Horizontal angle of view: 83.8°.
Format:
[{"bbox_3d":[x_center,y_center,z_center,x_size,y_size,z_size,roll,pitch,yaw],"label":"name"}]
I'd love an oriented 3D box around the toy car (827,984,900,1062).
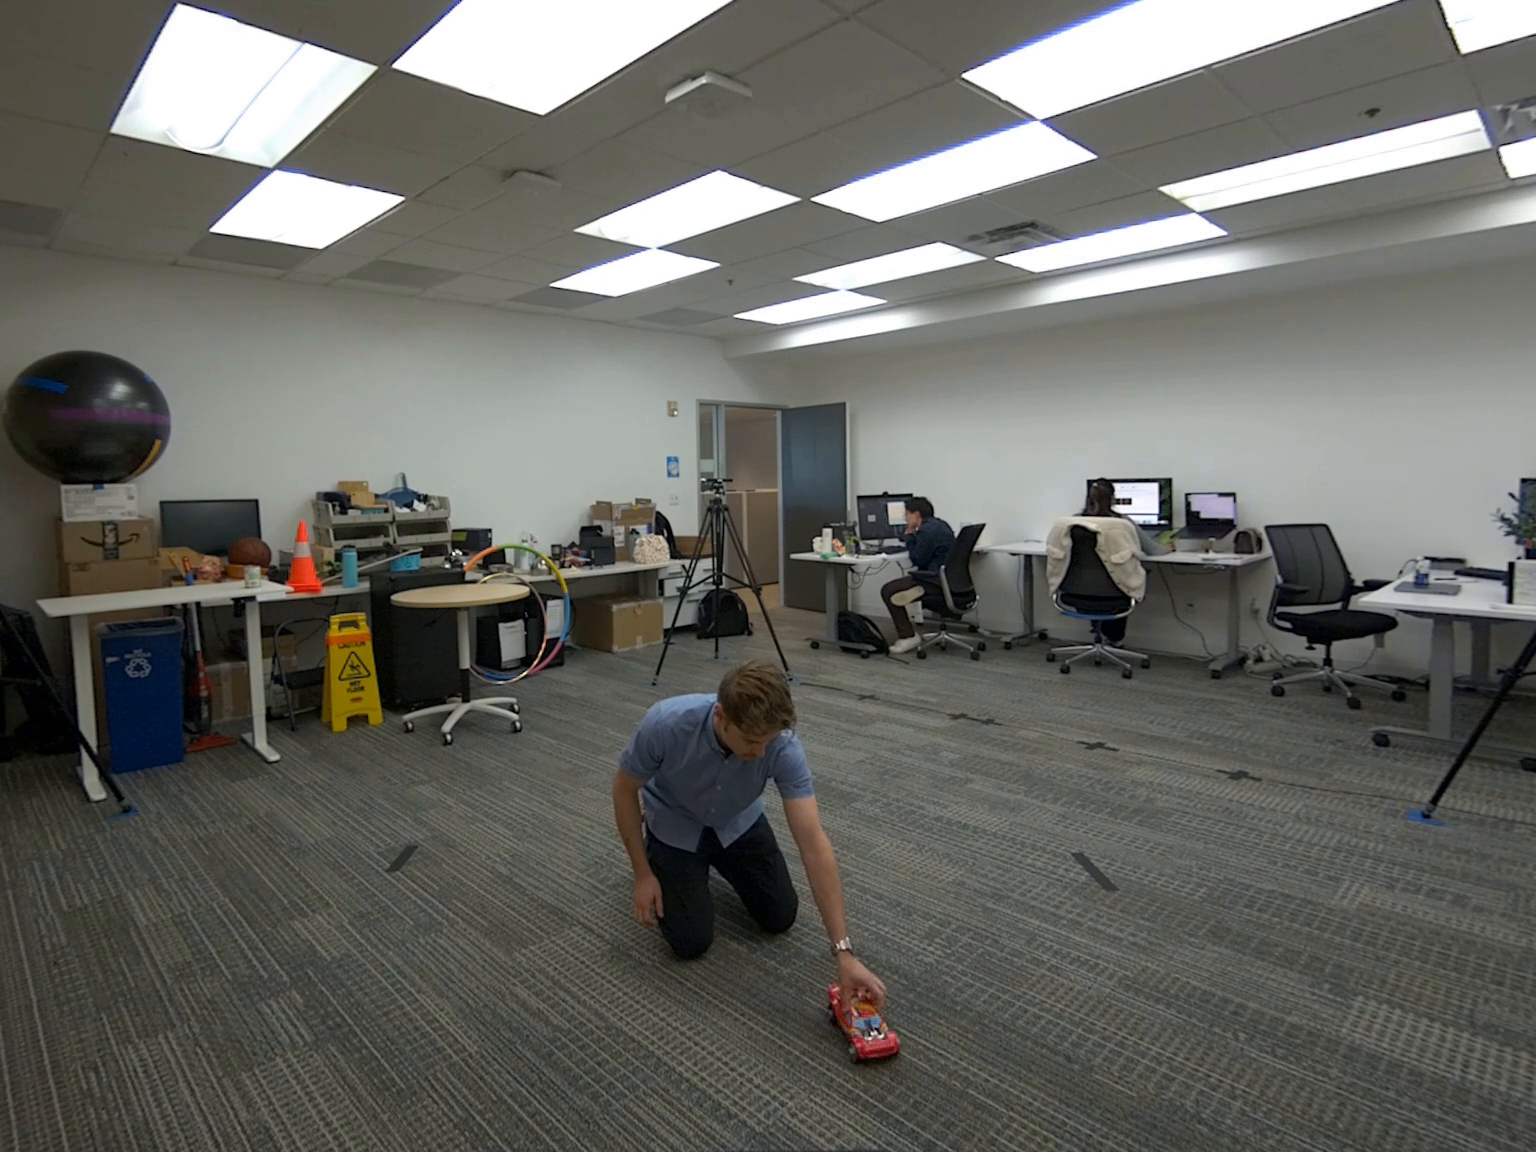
[{"bbox_3d":[0.233,1.121,2.148,0.129,0.082,0.261,-4,18,-15],"label":"toy car"}]
